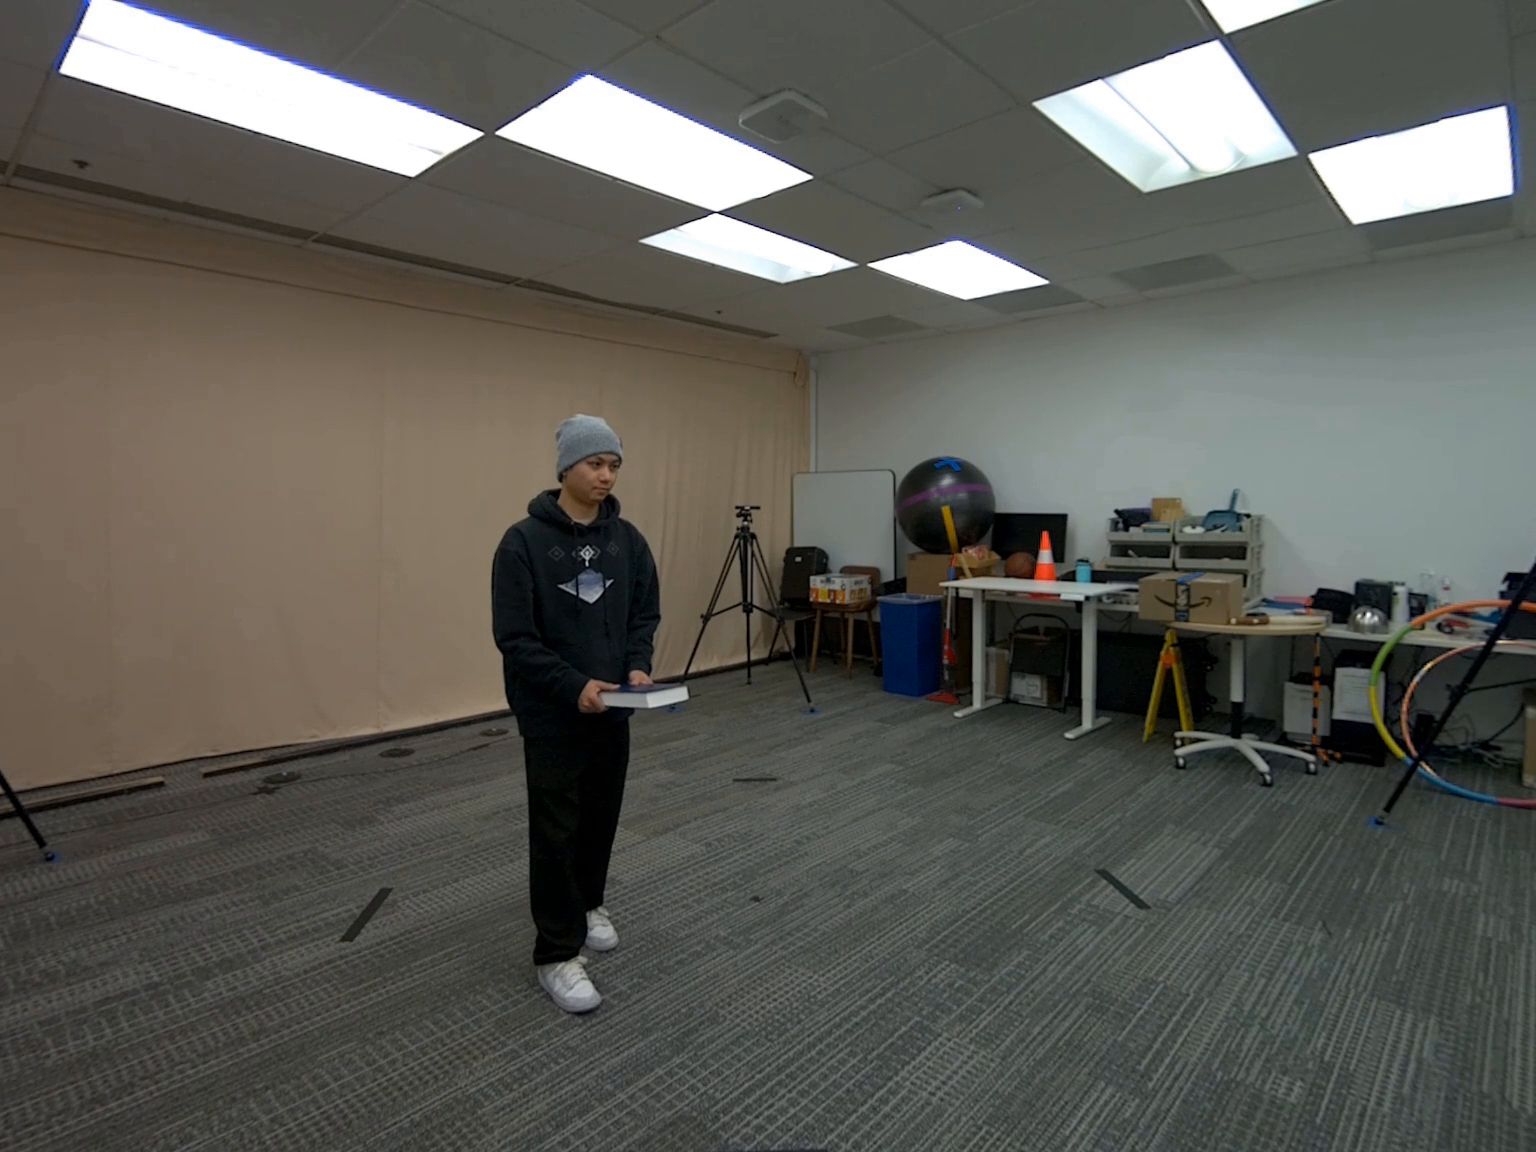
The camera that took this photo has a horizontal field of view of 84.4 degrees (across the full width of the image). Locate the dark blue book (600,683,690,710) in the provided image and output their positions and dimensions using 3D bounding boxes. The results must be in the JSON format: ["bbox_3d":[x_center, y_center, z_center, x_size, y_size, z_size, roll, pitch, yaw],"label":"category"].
[{"bbox_3d":[-0.369,0.328,2.310,0.252,0.045,0.158,-4,-2,40],"label":"dark blue book"}]
